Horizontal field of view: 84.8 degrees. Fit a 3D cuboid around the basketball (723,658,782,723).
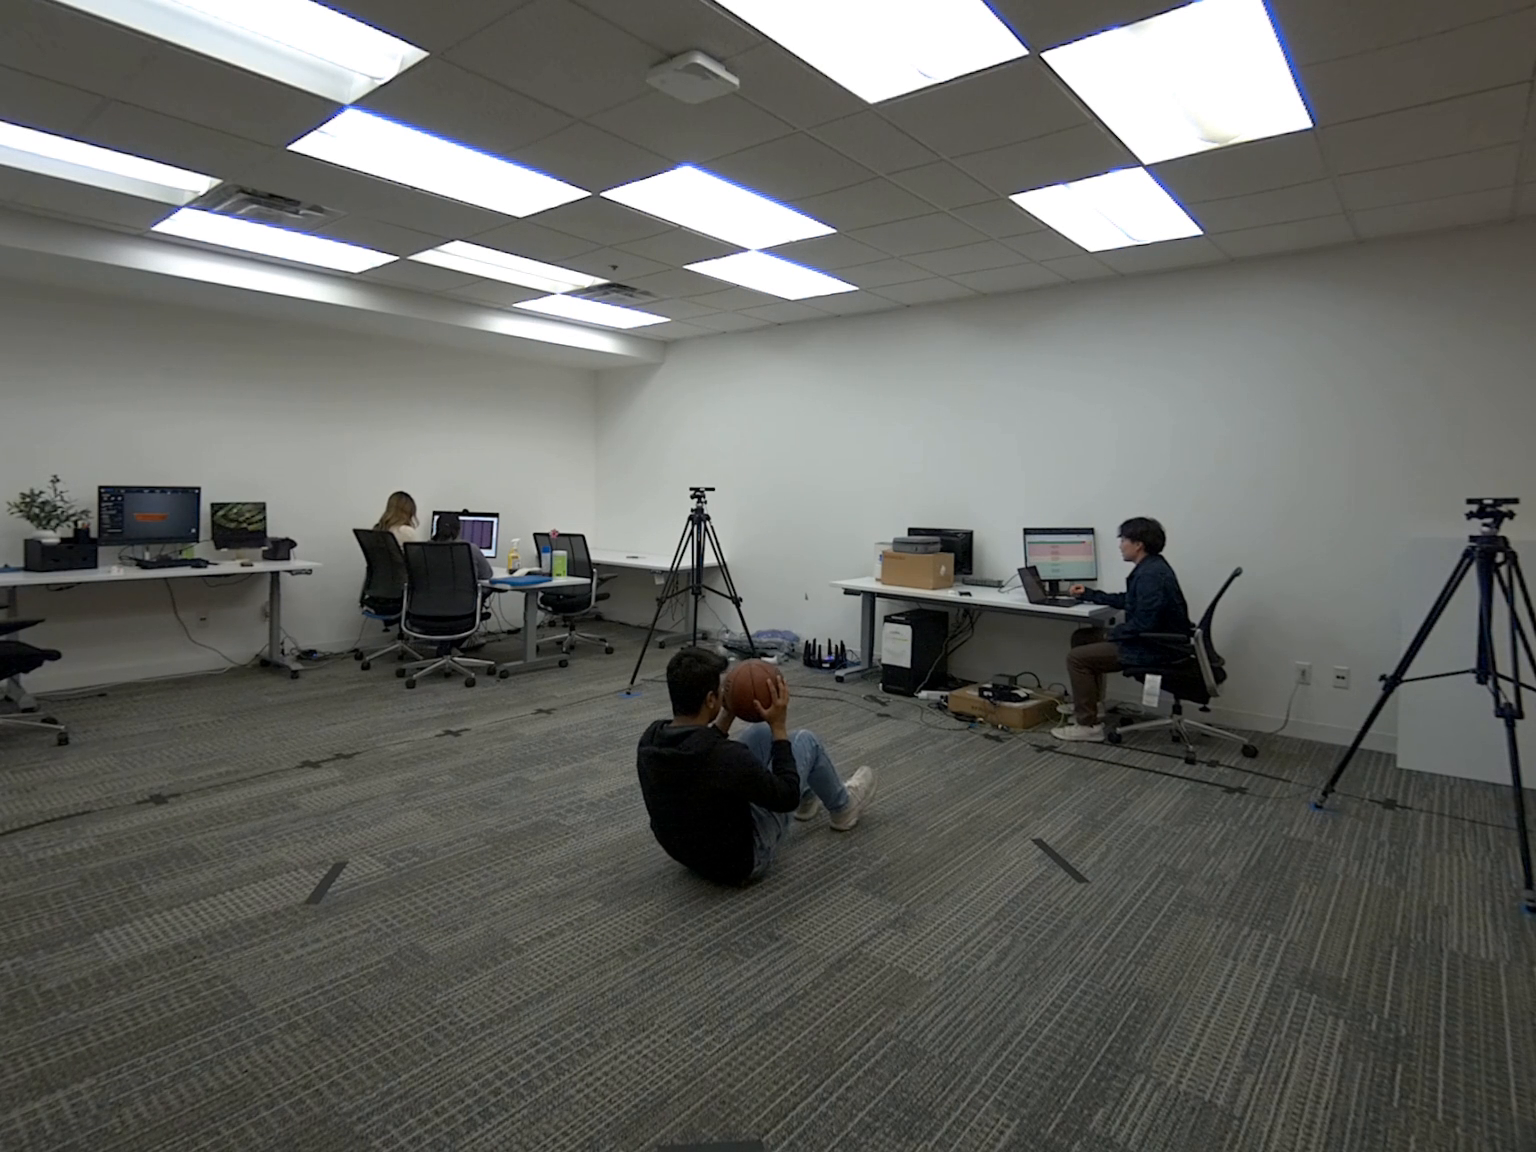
[{"bbox_3d":[-0.065,0.428,3.209,0.235,0.235,0.237,1,4,-2],"label":"basketball"}]
